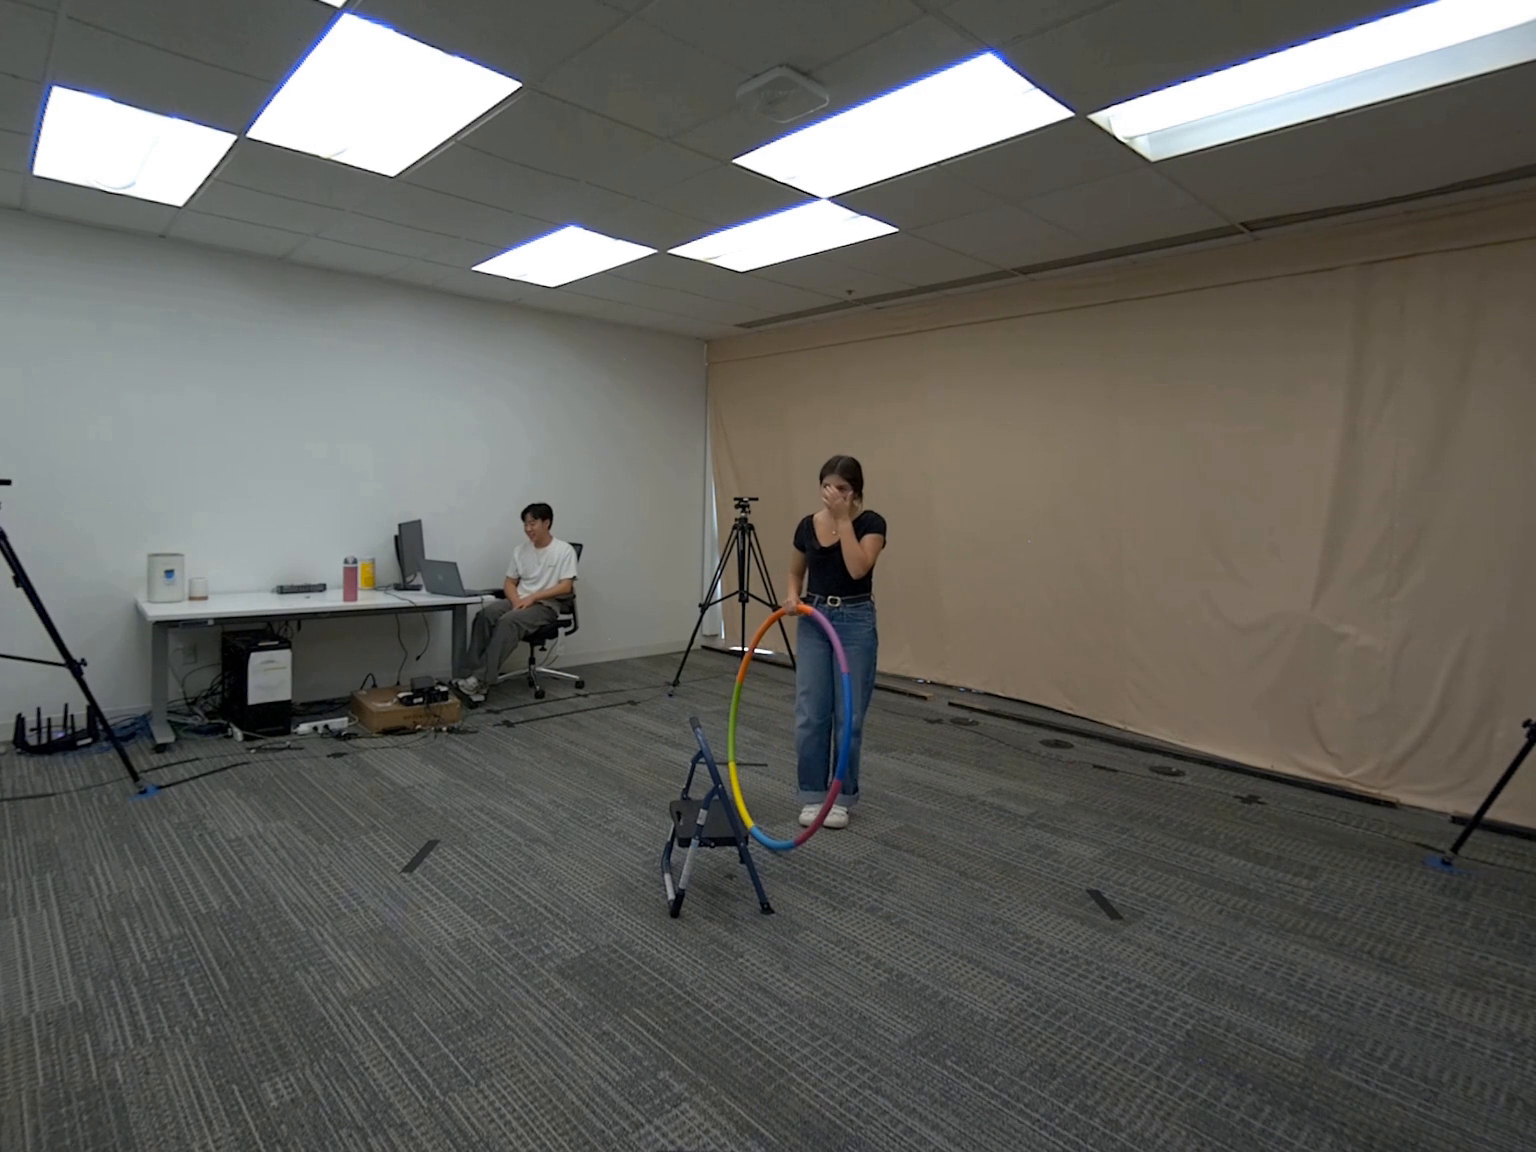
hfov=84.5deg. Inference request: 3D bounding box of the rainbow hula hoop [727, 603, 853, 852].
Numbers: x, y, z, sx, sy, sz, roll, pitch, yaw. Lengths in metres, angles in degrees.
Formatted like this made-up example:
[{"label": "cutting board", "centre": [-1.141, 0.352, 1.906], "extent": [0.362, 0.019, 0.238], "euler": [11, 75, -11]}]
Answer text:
[{"label": "rainbow hula hoop", "centre": [0.051, 0.607, 3.444], "extent": [0.035, 0.979, 0.999], "euler": [12, -1, -26]}]
